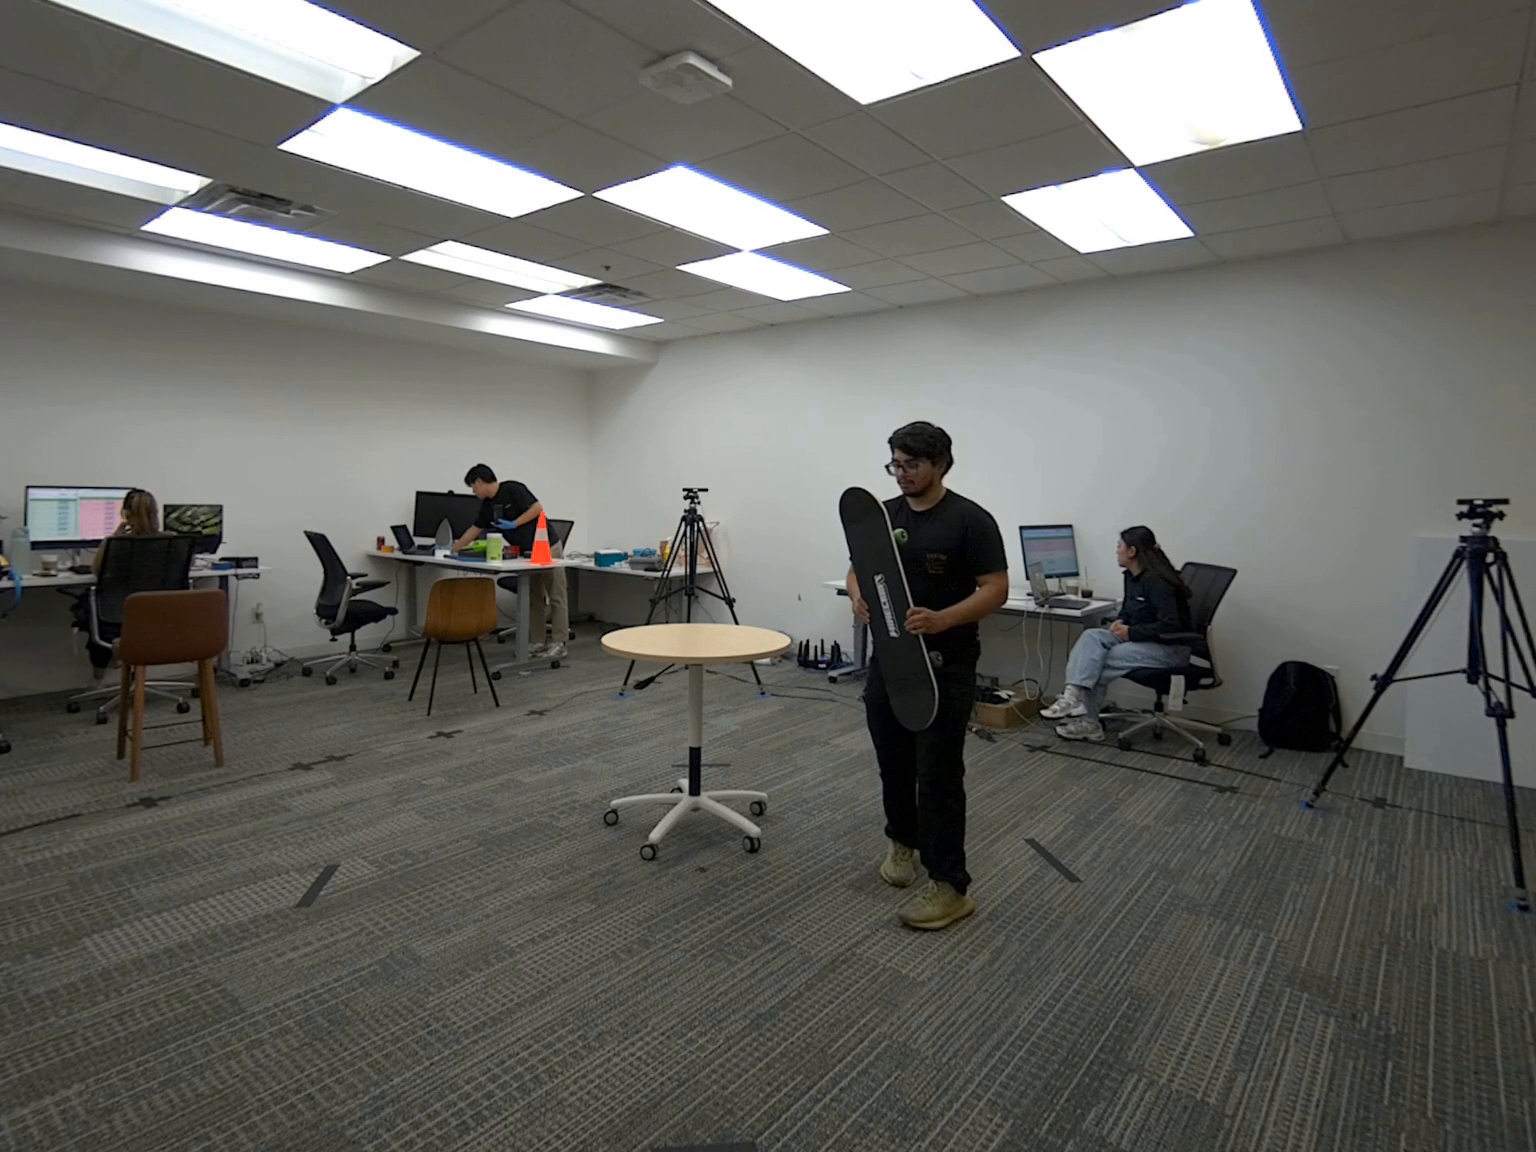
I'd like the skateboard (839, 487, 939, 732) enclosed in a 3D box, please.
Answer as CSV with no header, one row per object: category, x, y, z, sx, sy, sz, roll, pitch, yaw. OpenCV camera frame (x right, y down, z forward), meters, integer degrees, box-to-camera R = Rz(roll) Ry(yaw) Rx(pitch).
skateboard,0.393,0.086,2.730,0.107,0.792,0.197,-8,-9,-39
